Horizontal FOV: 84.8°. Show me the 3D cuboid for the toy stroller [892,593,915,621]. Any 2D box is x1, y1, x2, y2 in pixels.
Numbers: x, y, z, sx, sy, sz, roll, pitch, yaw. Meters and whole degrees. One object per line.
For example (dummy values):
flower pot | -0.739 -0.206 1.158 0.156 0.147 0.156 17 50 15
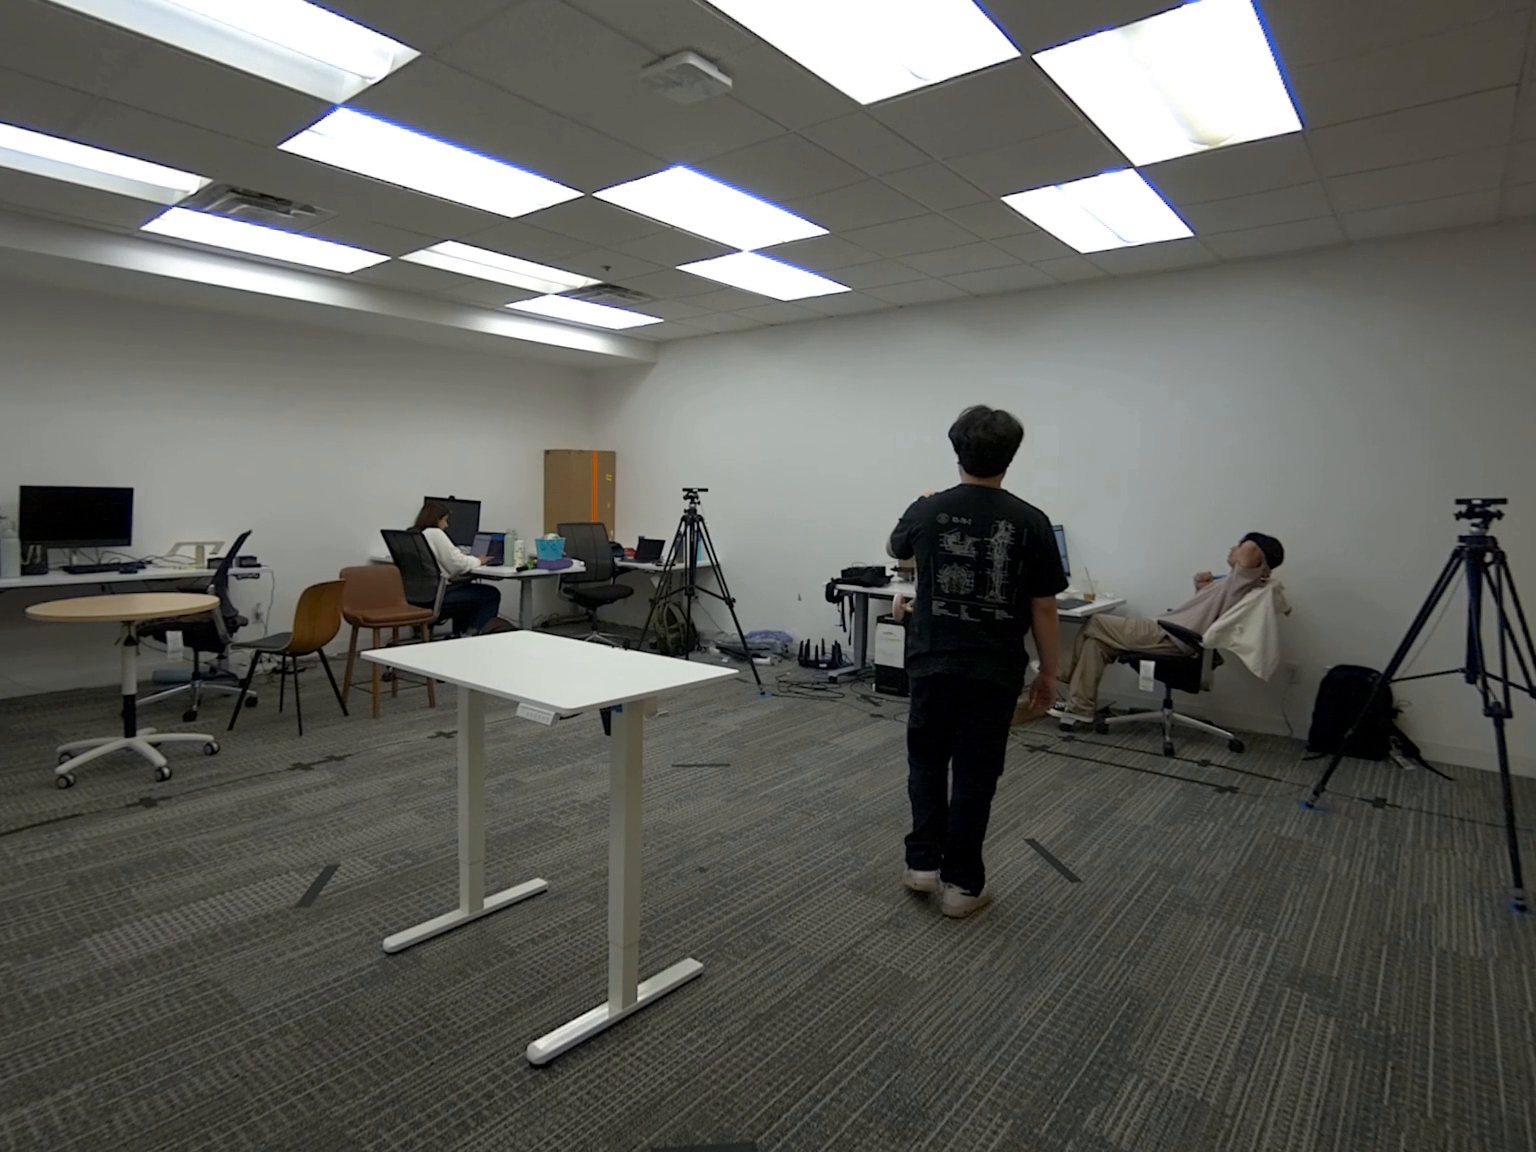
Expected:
toy stroller | 0.678 -0.022 3.371 0.290 0.536 0.330 3 -3 30
